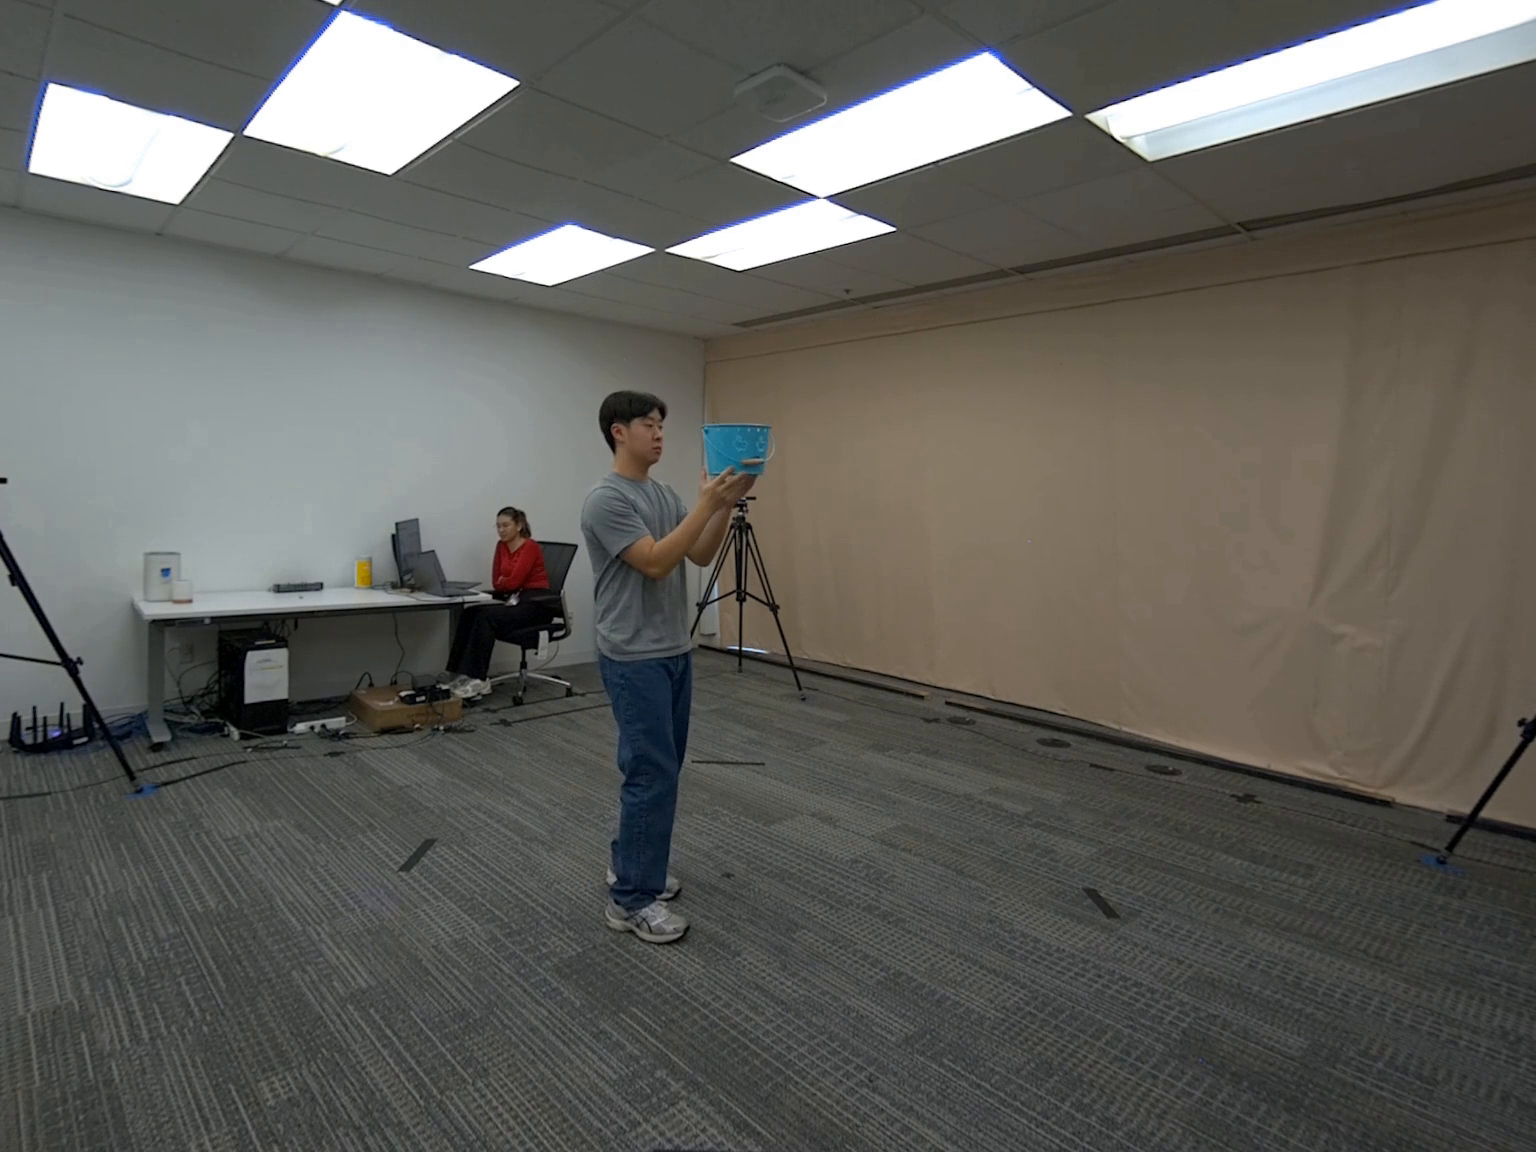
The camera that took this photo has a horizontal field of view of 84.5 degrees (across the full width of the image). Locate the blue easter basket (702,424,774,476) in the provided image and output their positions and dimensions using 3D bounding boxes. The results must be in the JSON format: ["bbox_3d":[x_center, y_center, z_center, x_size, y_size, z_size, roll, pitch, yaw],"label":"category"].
[{"bbox_3d":[-0.110,-0.398,2.684,0.243,0.155,0.245,1,9,-2],"label":"blue easter basket"}]
